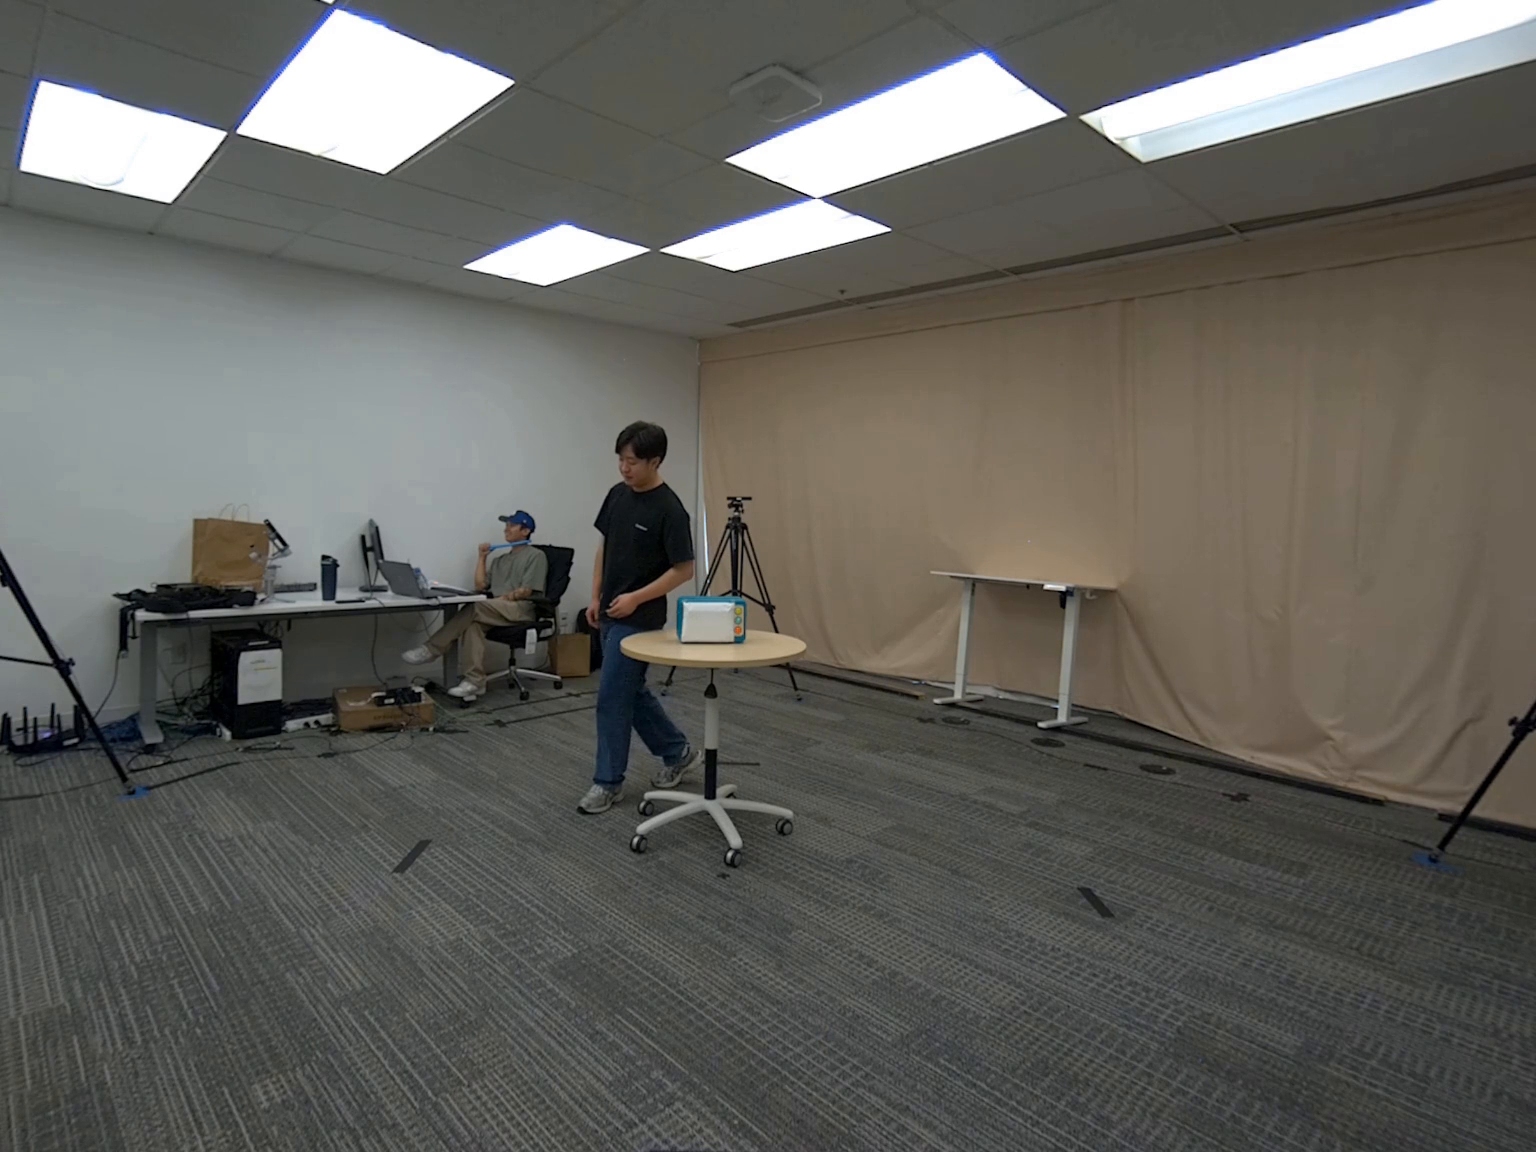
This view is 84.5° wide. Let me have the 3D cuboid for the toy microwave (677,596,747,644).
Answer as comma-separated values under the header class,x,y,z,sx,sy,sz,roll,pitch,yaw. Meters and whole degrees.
class,x,y,z,sx,sy,sz,roll,pitch,yaw
toy microwave,-0.241,0.182,3.492,0.284,0.183,0.154,1,4,-8
